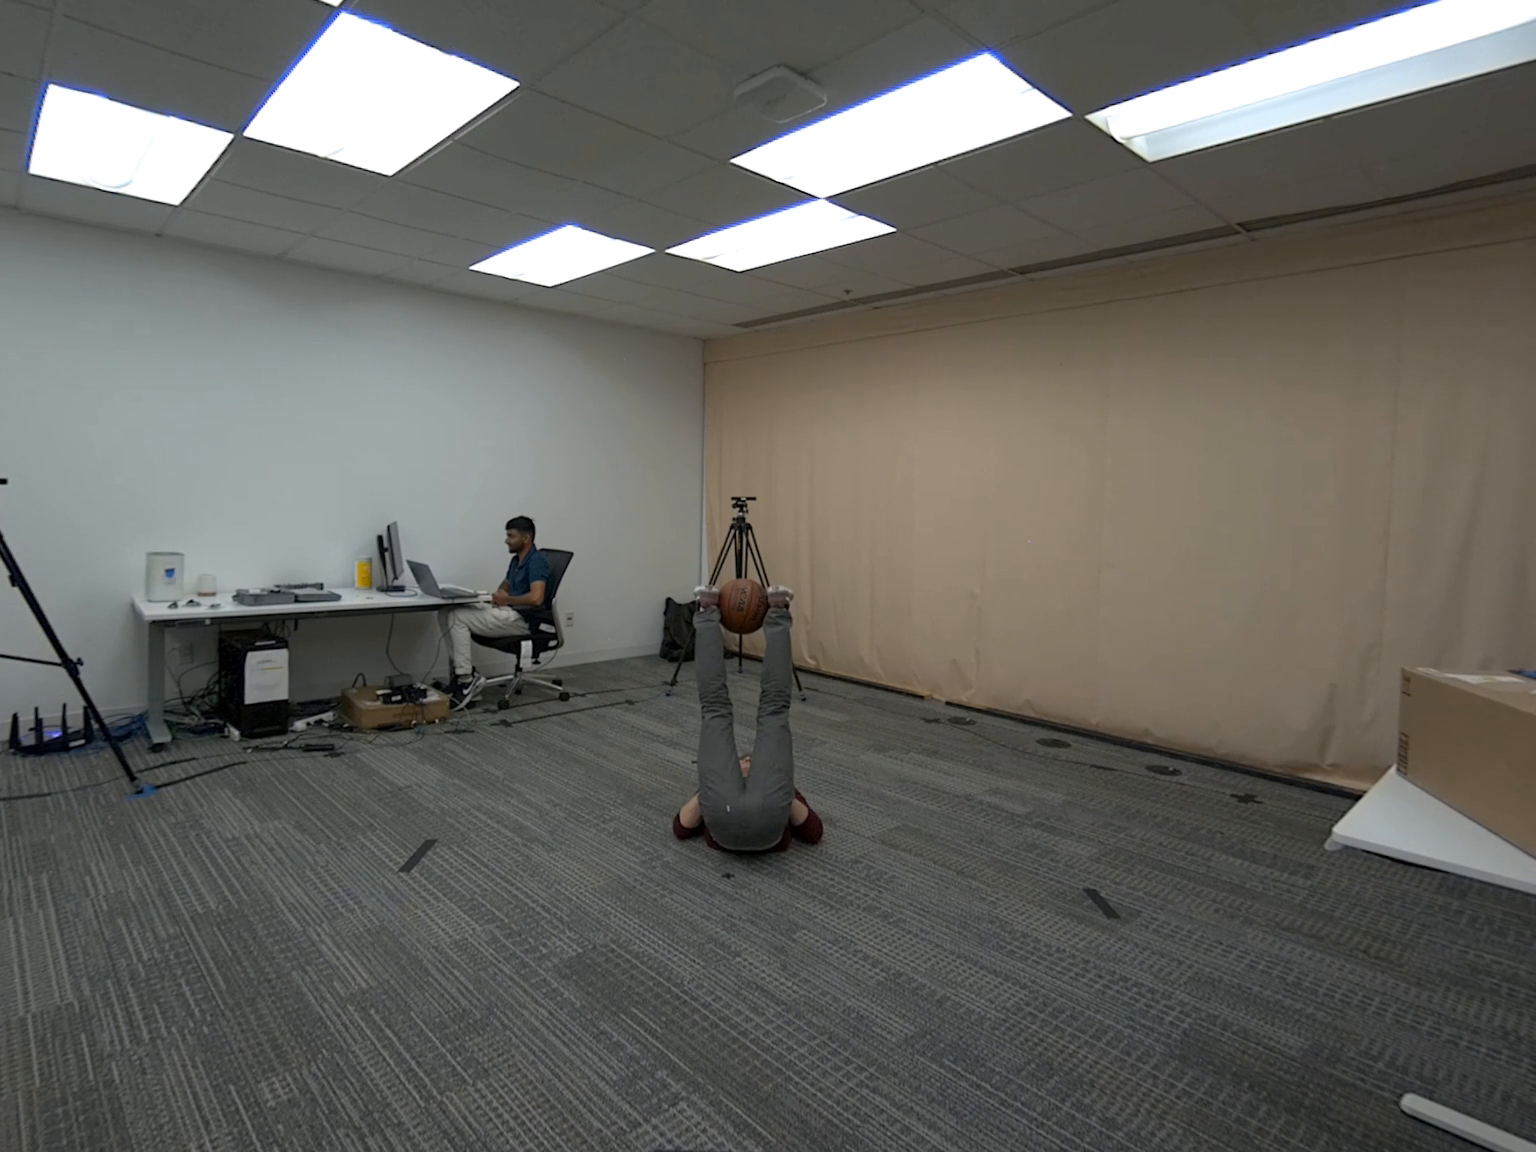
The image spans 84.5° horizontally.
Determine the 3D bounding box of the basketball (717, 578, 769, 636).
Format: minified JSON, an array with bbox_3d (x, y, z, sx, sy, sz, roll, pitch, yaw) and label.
[{"bbox_3d":[-0.114,0.127,3.577,0.236,0.234,0.237,0,7,-1],"label":"basketball"}]
